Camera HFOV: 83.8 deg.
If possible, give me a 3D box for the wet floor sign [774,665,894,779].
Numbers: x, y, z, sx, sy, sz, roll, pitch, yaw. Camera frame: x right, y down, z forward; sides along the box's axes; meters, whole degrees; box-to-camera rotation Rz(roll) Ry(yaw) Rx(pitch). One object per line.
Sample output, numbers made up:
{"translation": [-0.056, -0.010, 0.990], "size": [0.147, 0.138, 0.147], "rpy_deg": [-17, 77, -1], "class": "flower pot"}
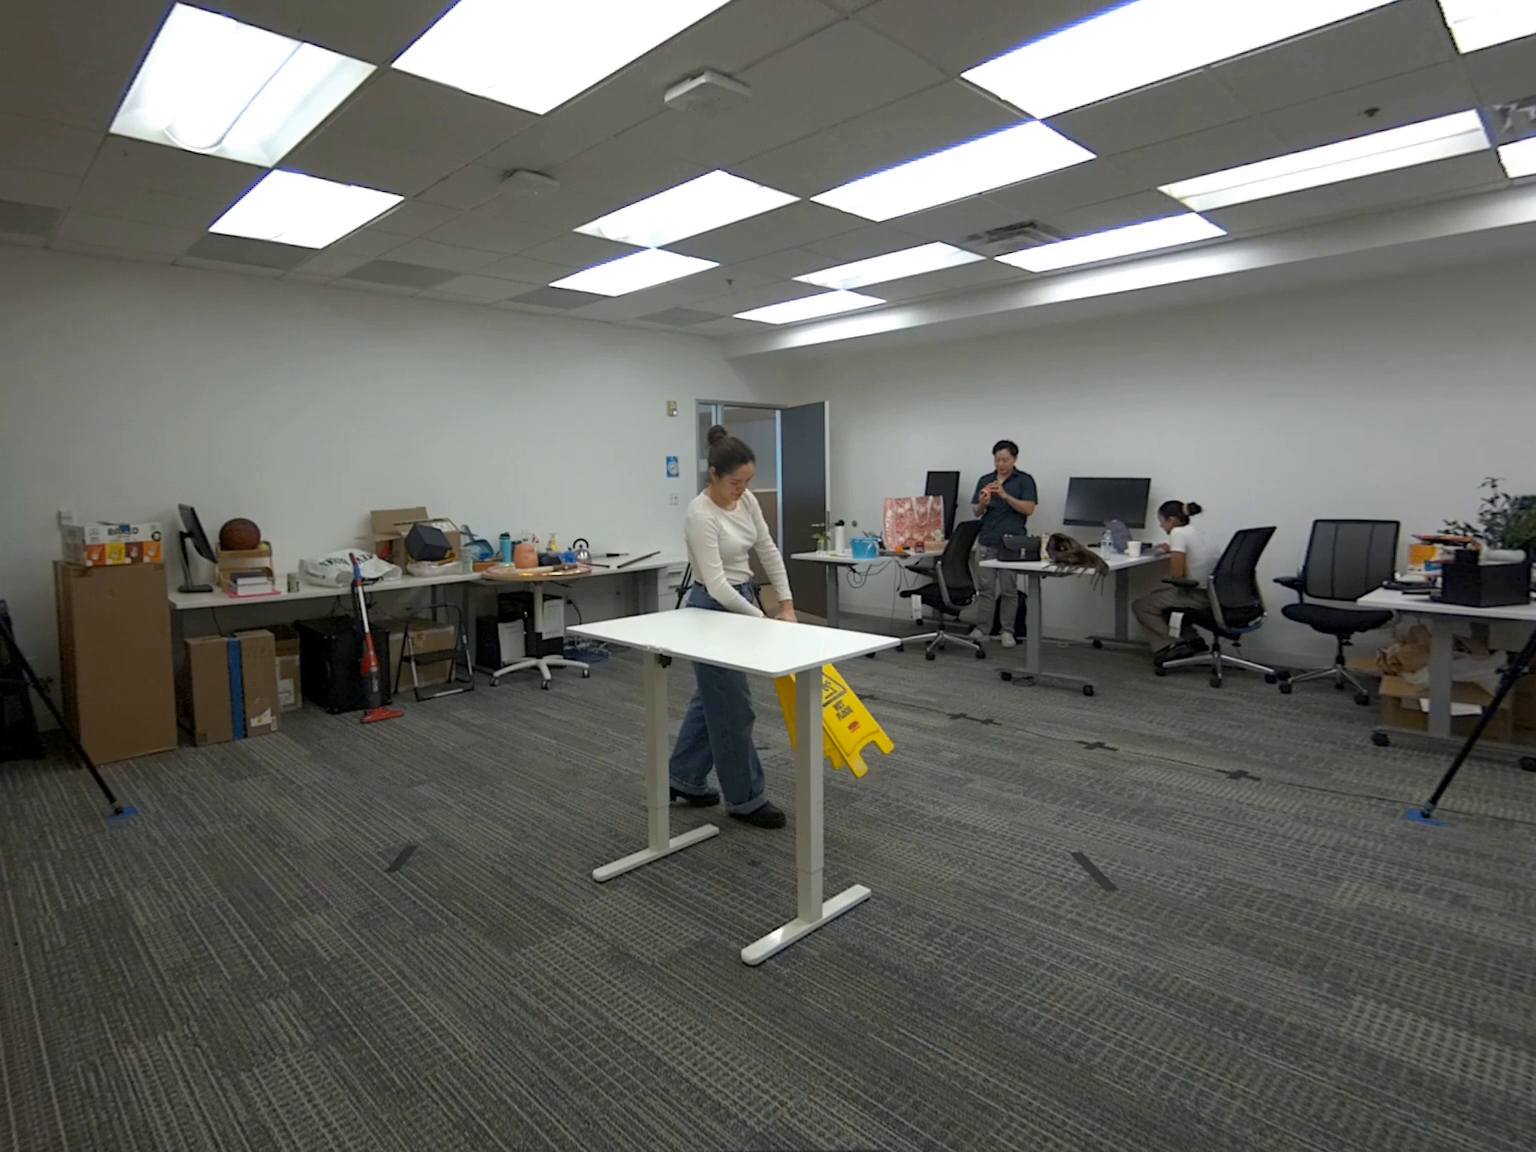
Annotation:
{"translation": [0.179, 0.479, 3.413], "size": [0.292, 0.651, 0.277], "rpy_deg": [-32, -8, 41], "class": "wet floor sign"}
